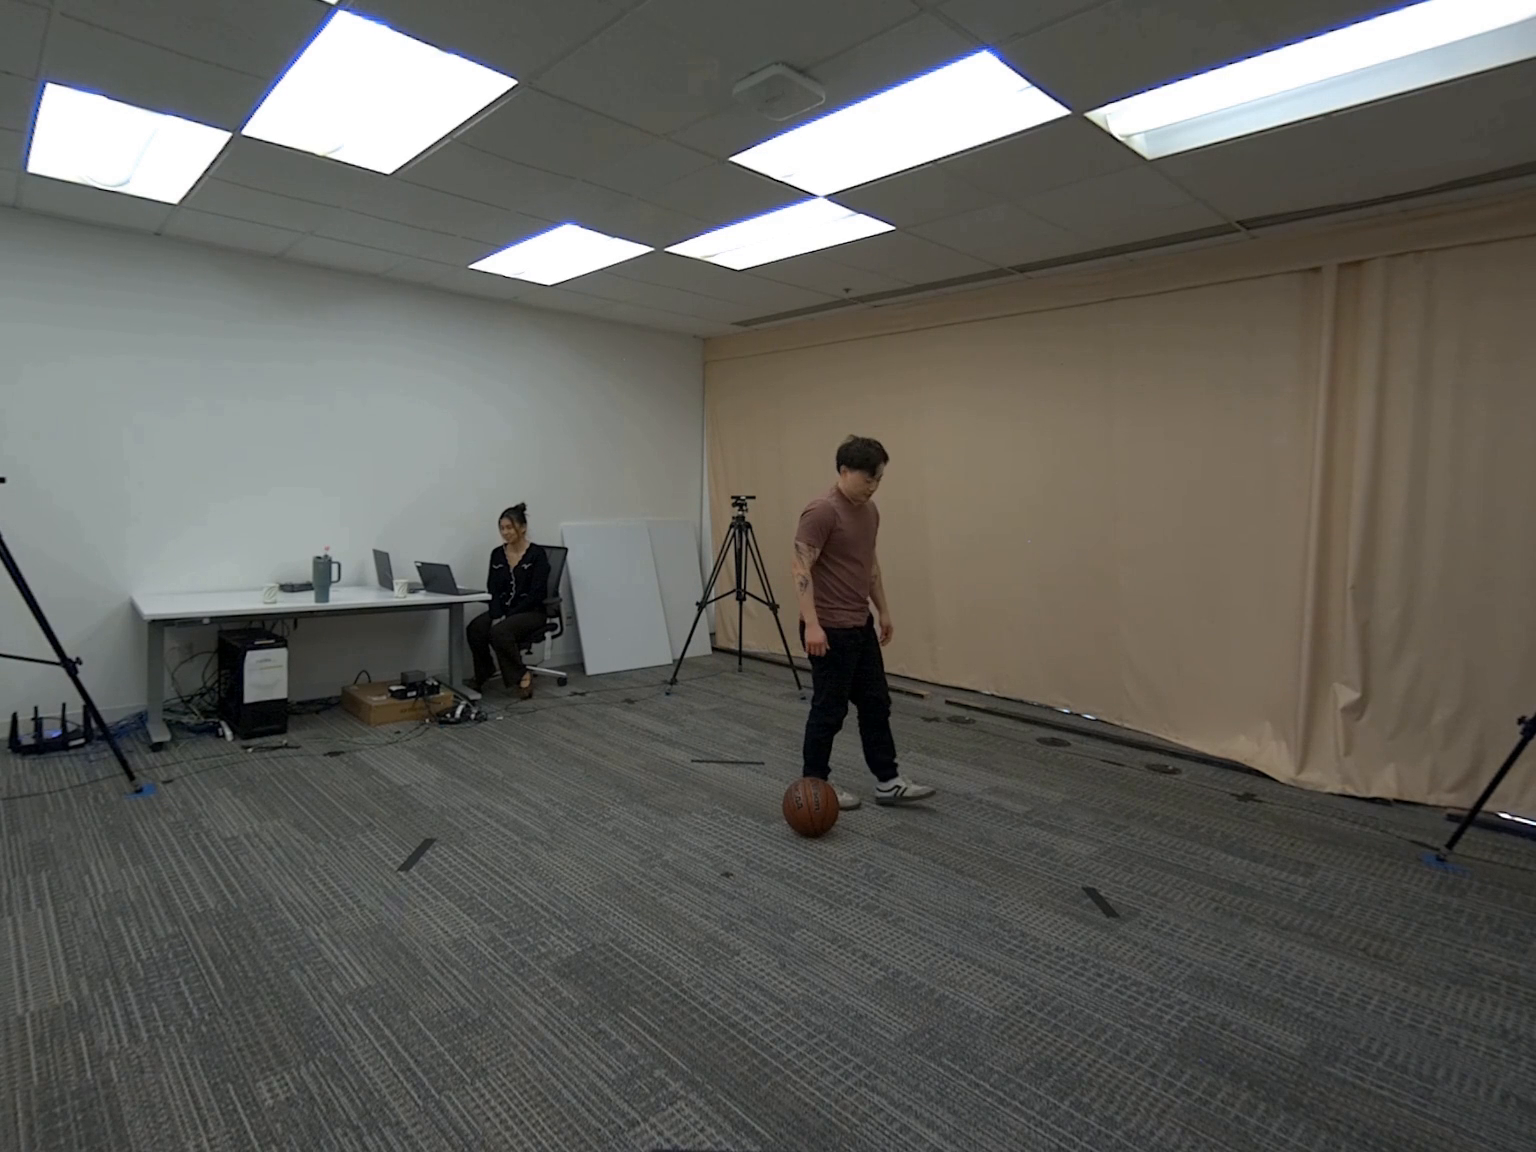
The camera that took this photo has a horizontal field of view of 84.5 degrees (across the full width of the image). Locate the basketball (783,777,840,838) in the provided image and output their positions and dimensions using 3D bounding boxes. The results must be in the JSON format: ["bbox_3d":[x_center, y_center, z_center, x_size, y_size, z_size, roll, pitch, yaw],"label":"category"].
[{"bbox_3d":[0.168,0.958,3.498,0.236,0.235,0.237,1,4,-1],"label":"basketball"}]
